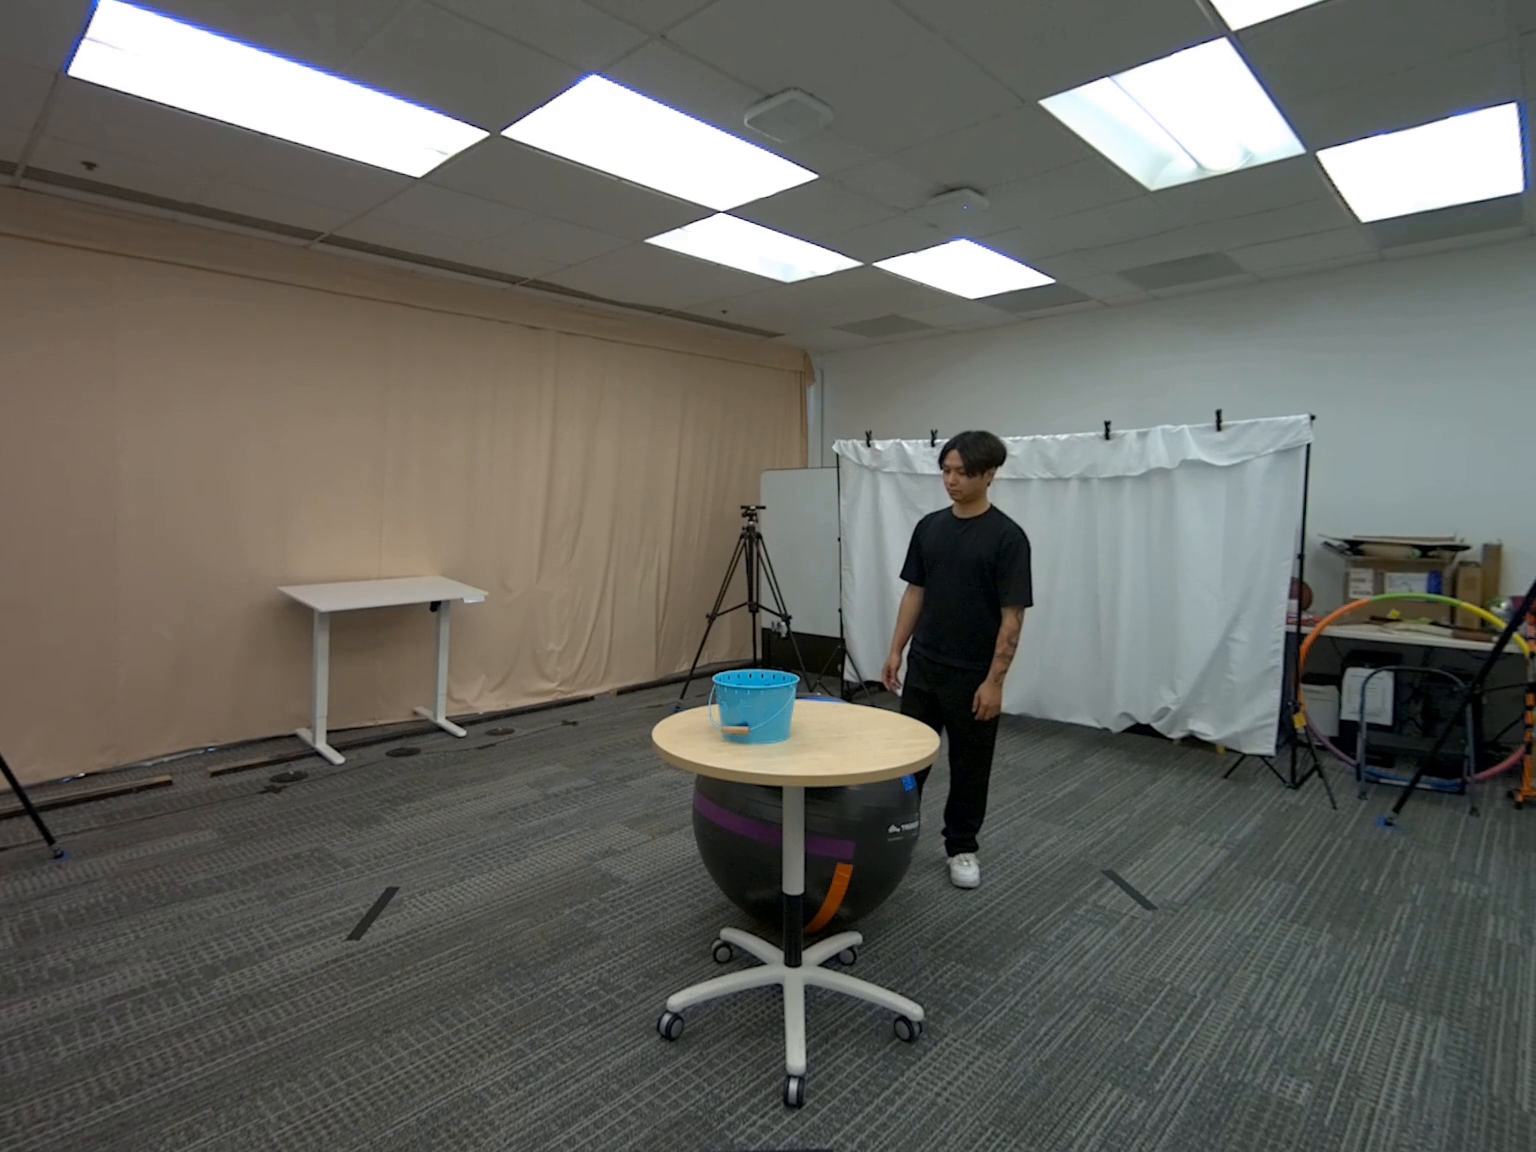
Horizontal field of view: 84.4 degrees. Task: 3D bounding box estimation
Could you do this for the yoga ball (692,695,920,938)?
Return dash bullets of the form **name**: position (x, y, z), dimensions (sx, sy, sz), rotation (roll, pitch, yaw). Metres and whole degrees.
- **yoga ball**: position (0.128, 0.779, 2.826), dimensions (0.757, 0.756, 0.760), rotation (0, 4, -2)
